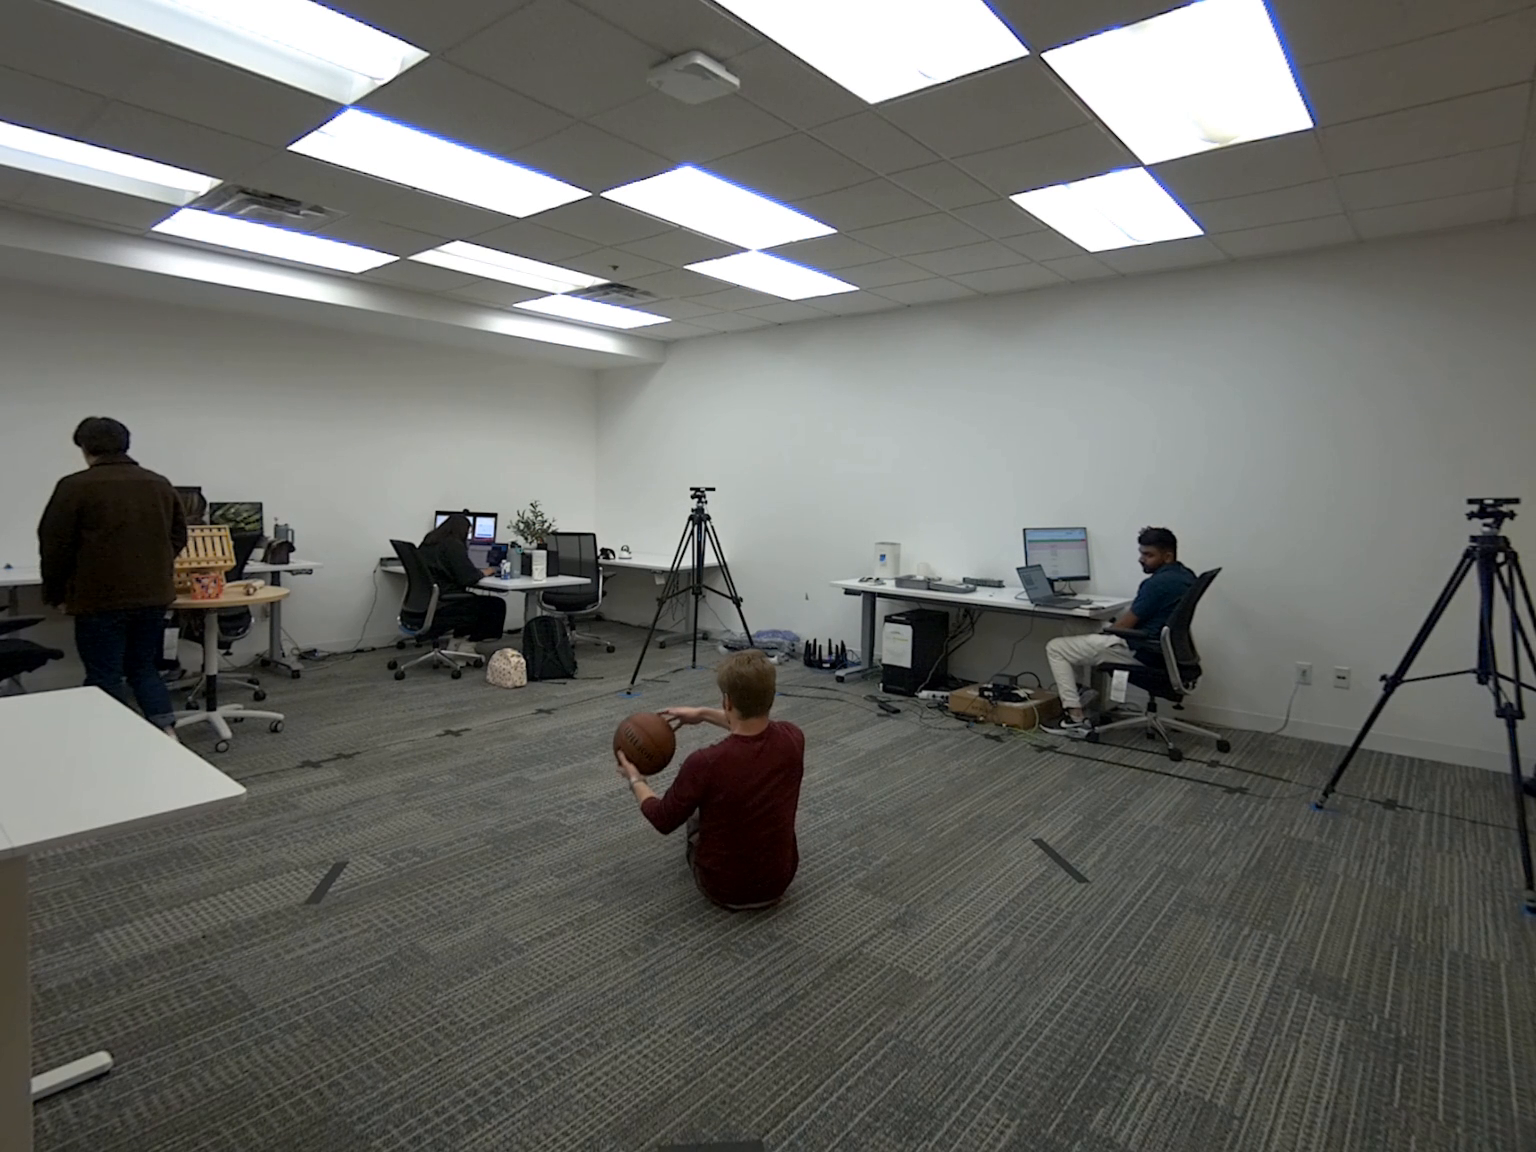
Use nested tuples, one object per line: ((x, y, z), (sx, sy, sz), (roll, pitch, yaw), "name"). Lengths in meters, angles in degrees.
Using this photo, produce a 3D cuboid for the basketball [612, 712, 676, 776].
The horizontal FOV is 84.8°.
((-0.456, 0.638, 3.222), (0.235, 0.235, 0.237), (1, 4, -2), "basketball")
